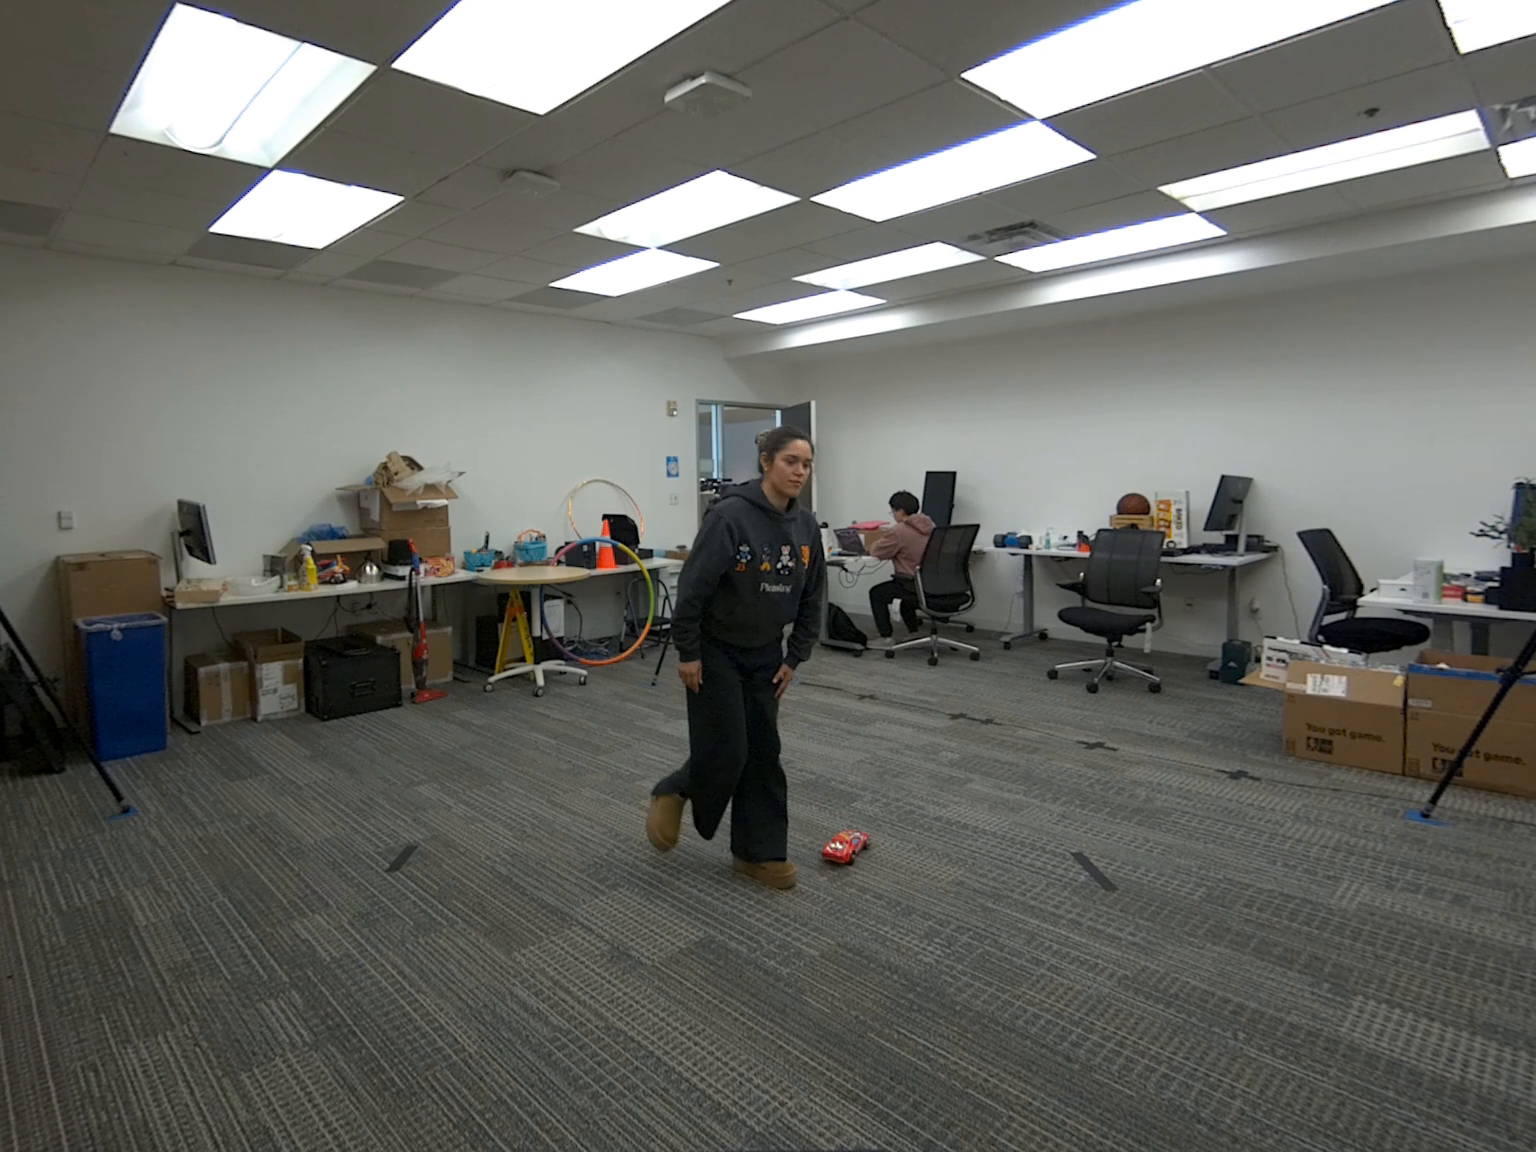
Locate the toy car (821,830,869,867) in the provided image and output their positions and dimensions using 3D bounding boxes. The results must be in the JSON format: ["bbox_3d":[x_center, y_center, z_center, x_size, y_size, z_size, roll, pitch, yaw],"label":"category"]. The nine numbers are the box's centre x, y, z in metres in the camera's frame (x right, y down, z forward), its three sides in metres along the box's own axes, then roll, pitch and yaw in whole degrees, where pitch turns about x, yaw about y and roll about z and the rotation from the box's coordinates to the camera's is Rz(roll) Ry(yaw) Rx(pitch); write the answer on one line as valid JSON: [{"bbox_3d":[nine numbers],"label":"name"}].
[{"bbox_3d":[0.288,1.005,3.140,0.134,0.083,0.247,3,-4,30],"label":"toy car"}]
